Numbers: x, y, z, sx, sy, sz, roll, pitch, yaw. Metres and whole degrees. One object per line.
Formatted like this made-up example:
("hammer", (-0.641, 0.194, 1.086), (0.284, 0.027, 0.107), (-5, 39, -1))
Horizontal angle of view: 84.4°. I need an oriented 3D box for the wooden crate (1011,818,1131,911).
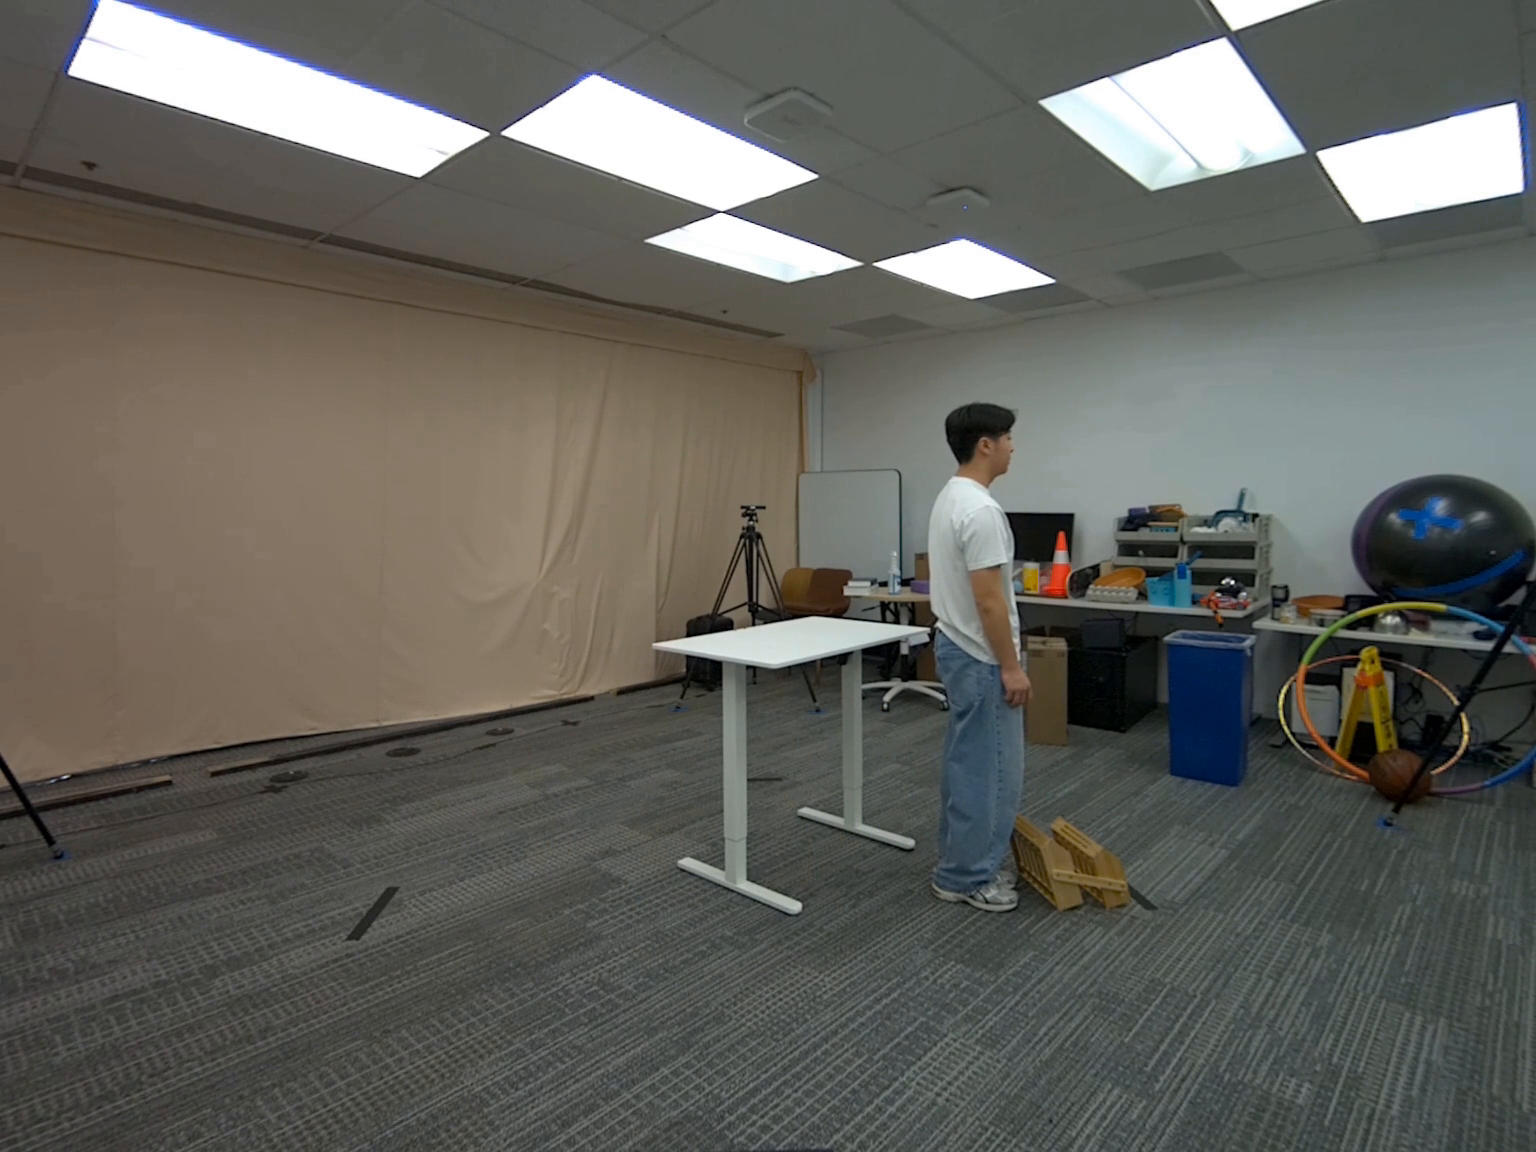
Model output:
("wooden crate", (1.085, 1.009, 3.029), (0.272, 0.300, 0.328), (-17, 6, -7))
